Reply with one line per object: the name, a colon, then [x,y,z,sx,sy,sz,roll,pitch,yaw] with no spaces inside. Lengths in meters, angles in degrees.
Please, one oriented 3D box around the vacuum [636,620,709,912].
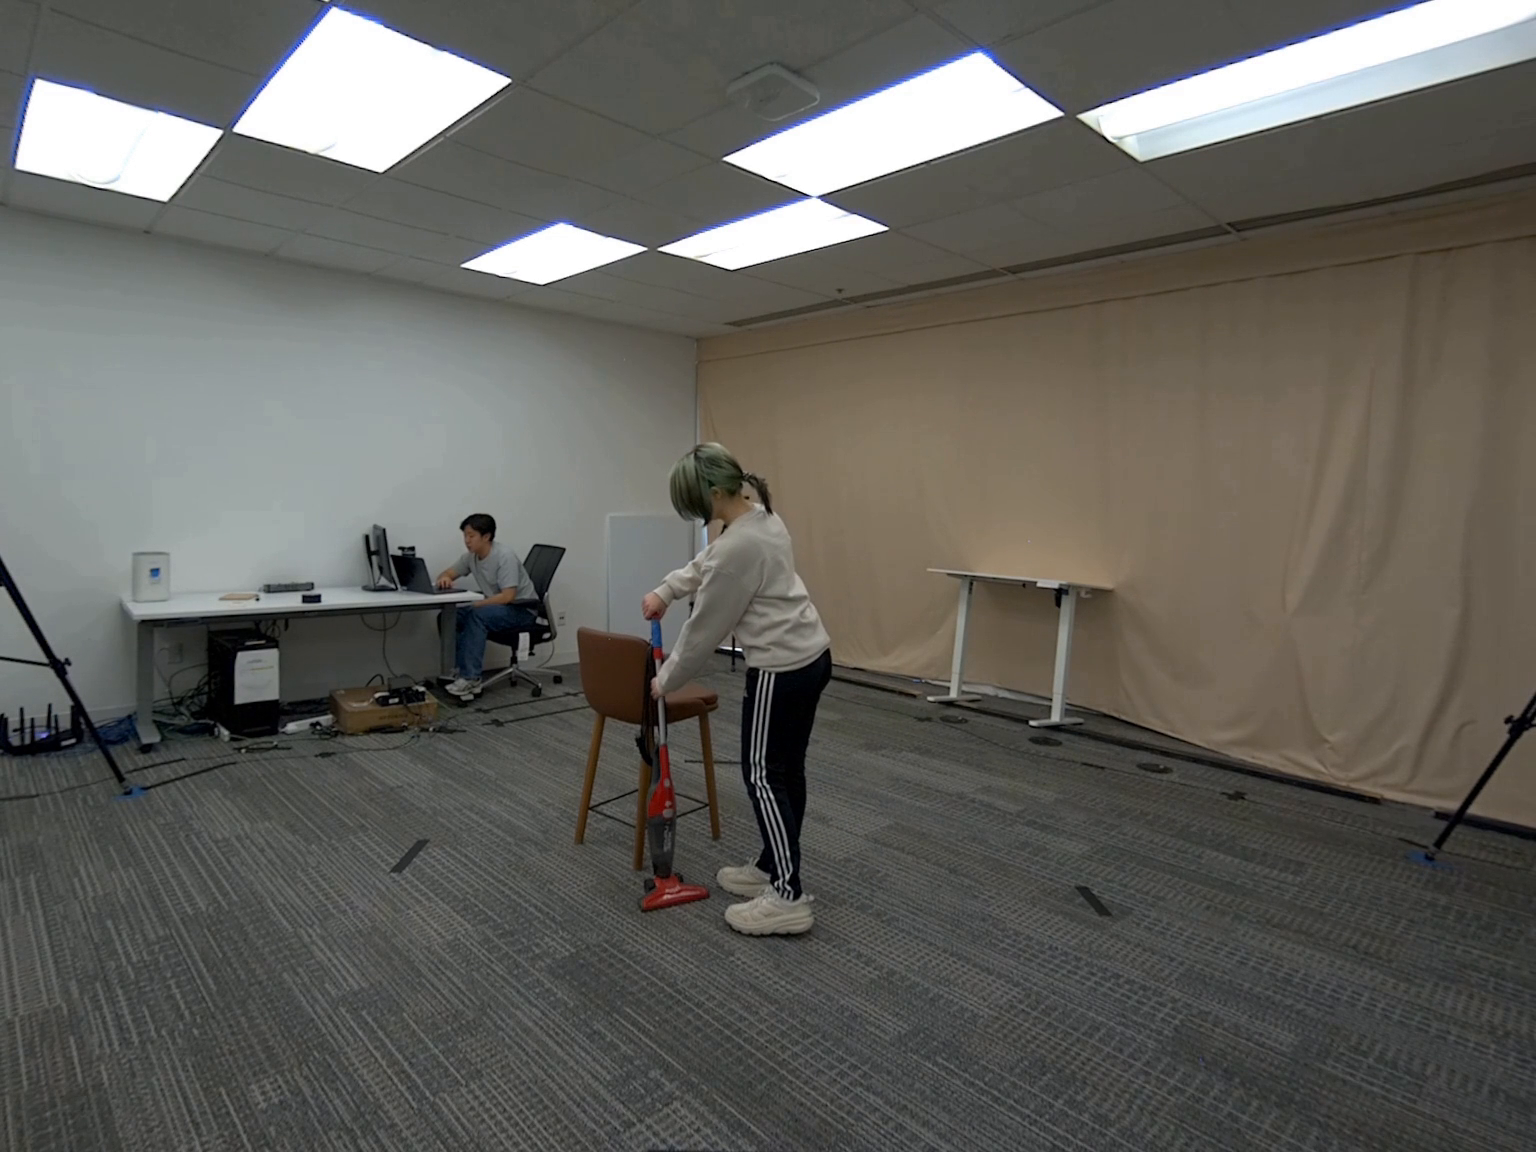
vacuum: [-0.399,0.599,3.021,0.247,1.057,0.146,0,-11,-33]
